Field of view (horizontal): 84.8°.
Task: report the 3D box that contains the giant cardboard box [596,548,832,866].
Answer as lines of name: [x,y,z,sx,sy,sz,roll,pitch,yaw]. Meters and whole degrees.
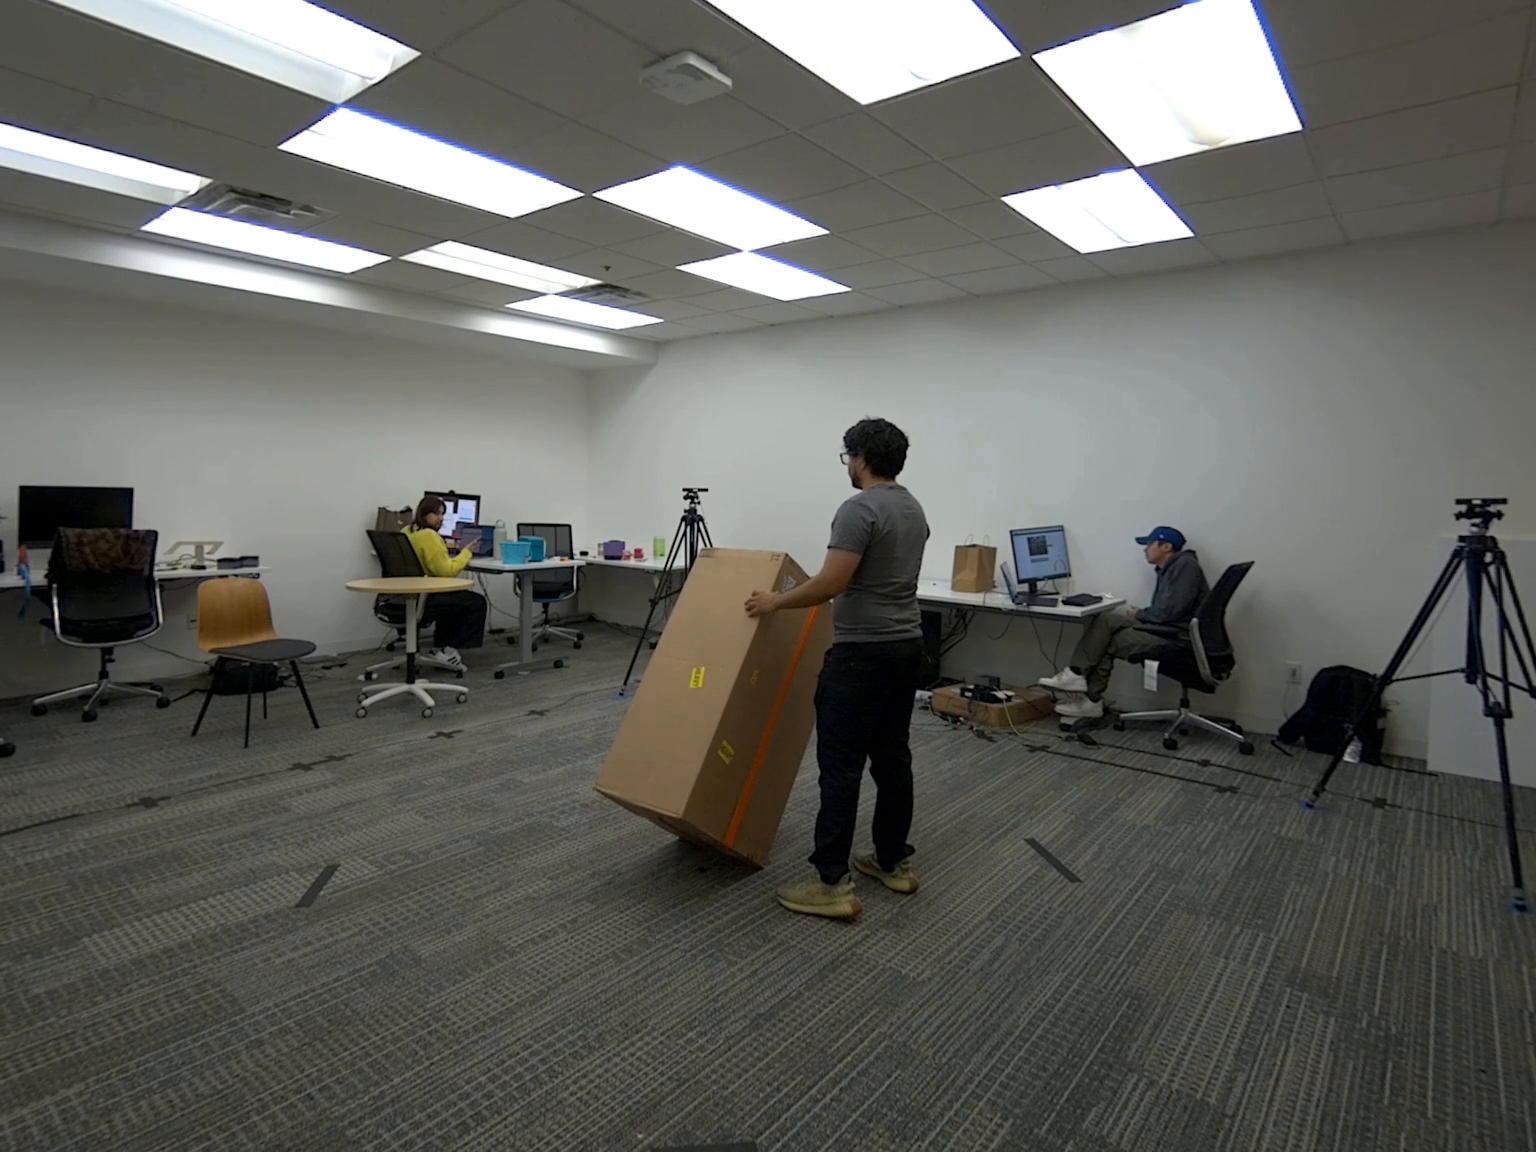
giant cardboard box: [-0.148,0.478,3.276,0.440,1.036,0.553,3,-30,37]
